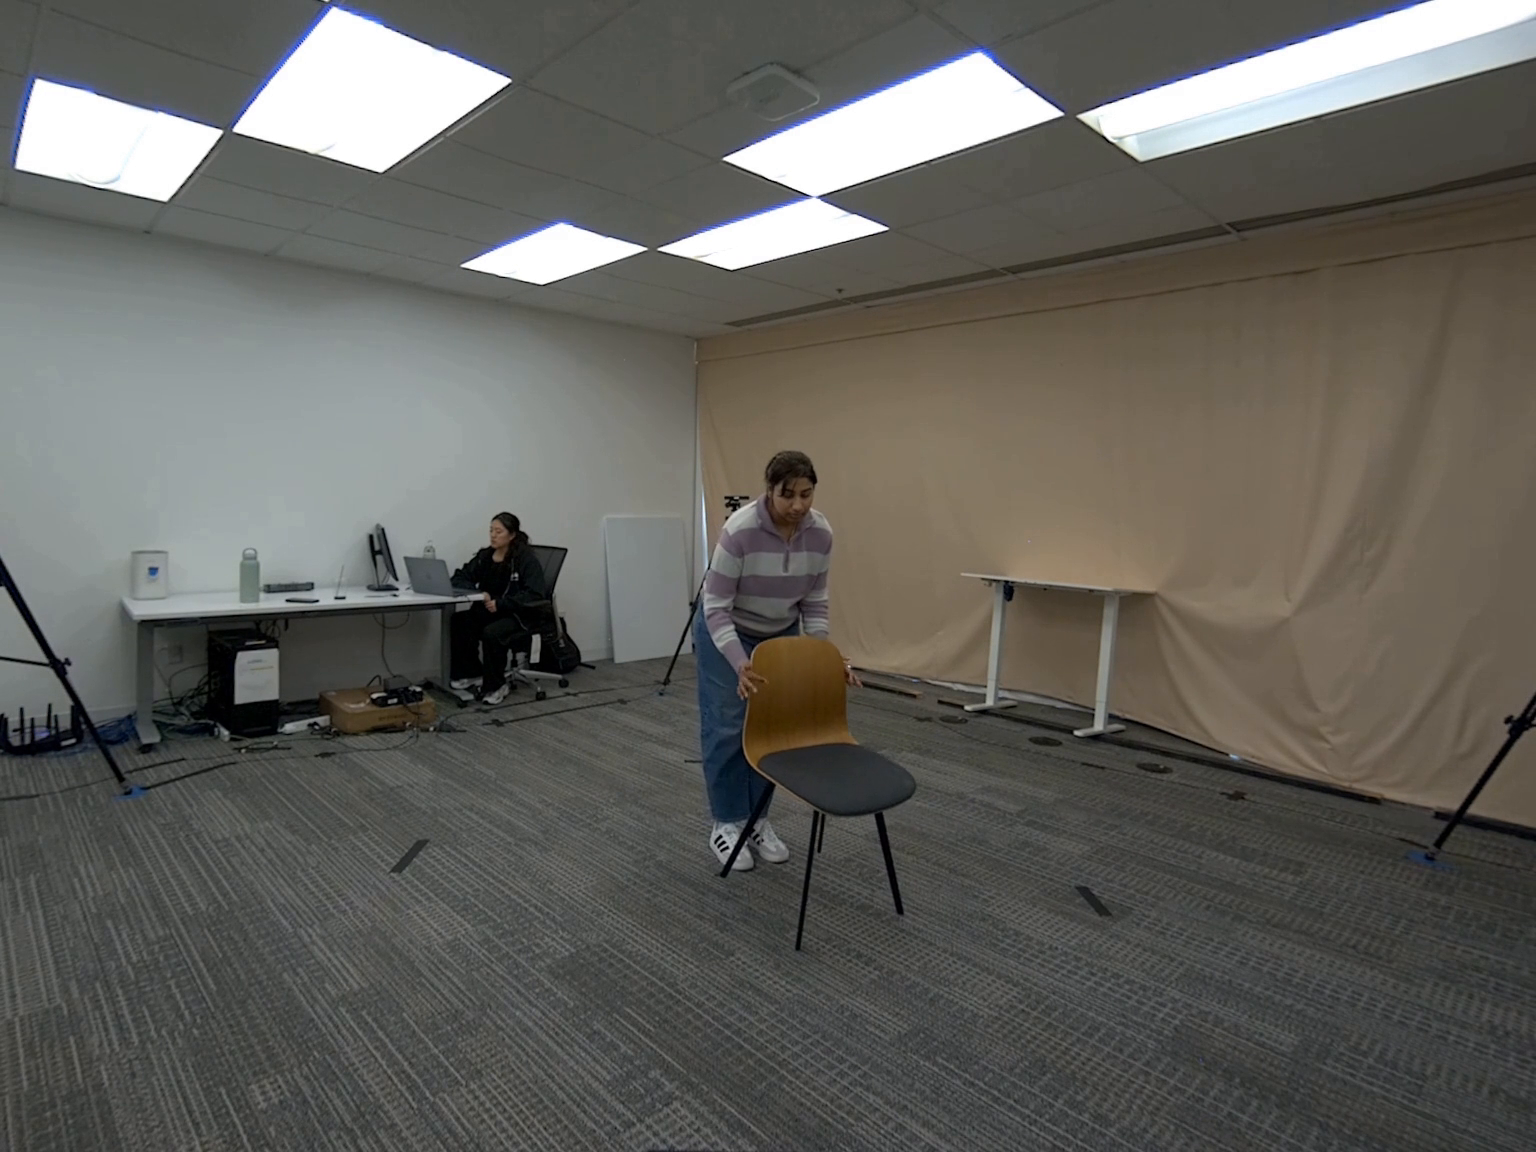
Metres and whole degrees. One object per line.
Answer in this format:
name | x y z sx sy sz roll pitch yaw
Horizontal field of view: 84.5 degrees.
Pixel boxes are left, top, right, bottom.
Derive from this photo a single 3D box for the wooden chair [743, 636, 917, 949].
wooden chair | 0.189 0.687 2.820 0.467 0.874 0.536 0 6 -35
